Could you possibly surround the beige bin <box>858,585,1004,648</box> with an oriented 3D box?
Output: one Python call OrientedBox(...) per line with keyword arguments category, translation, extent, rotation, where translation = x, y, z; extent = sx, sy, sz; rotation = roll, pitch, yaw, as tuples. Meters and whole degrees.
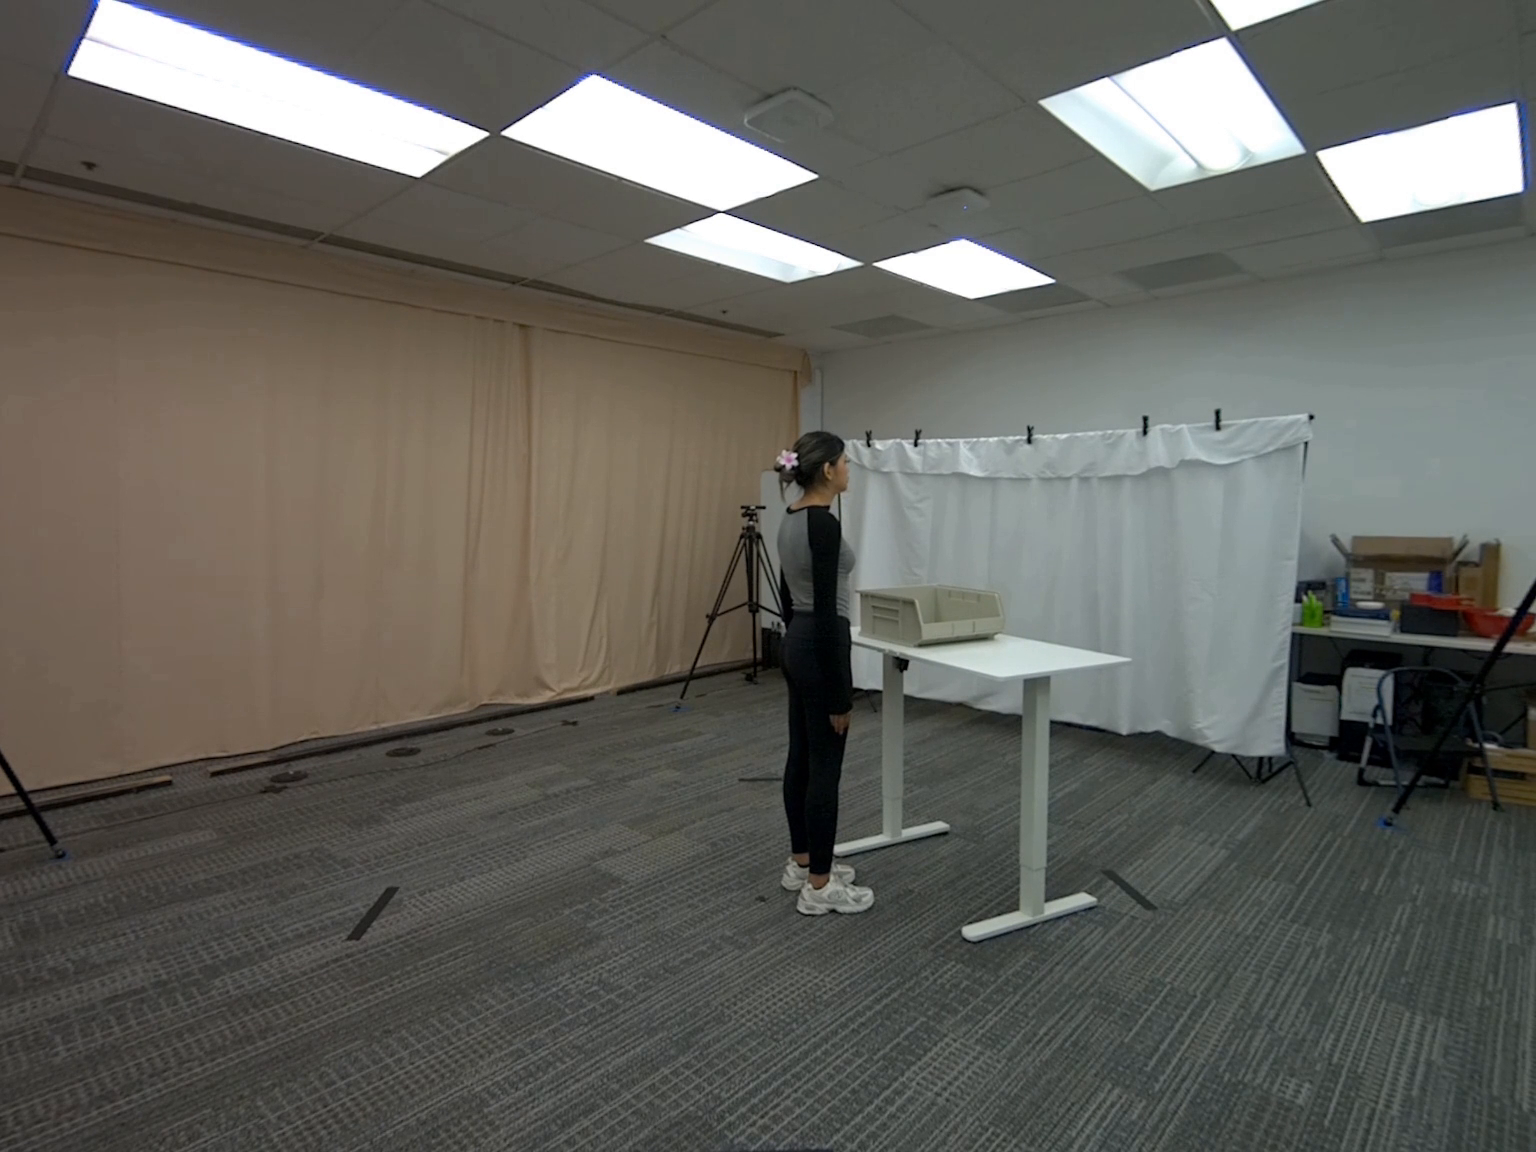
OrientedBox(category="beige bin", translation=(0.626, 0.152, 3.223), extent=(0.411, 0.188, 0.388), rotation=(-3, 5, -30))
